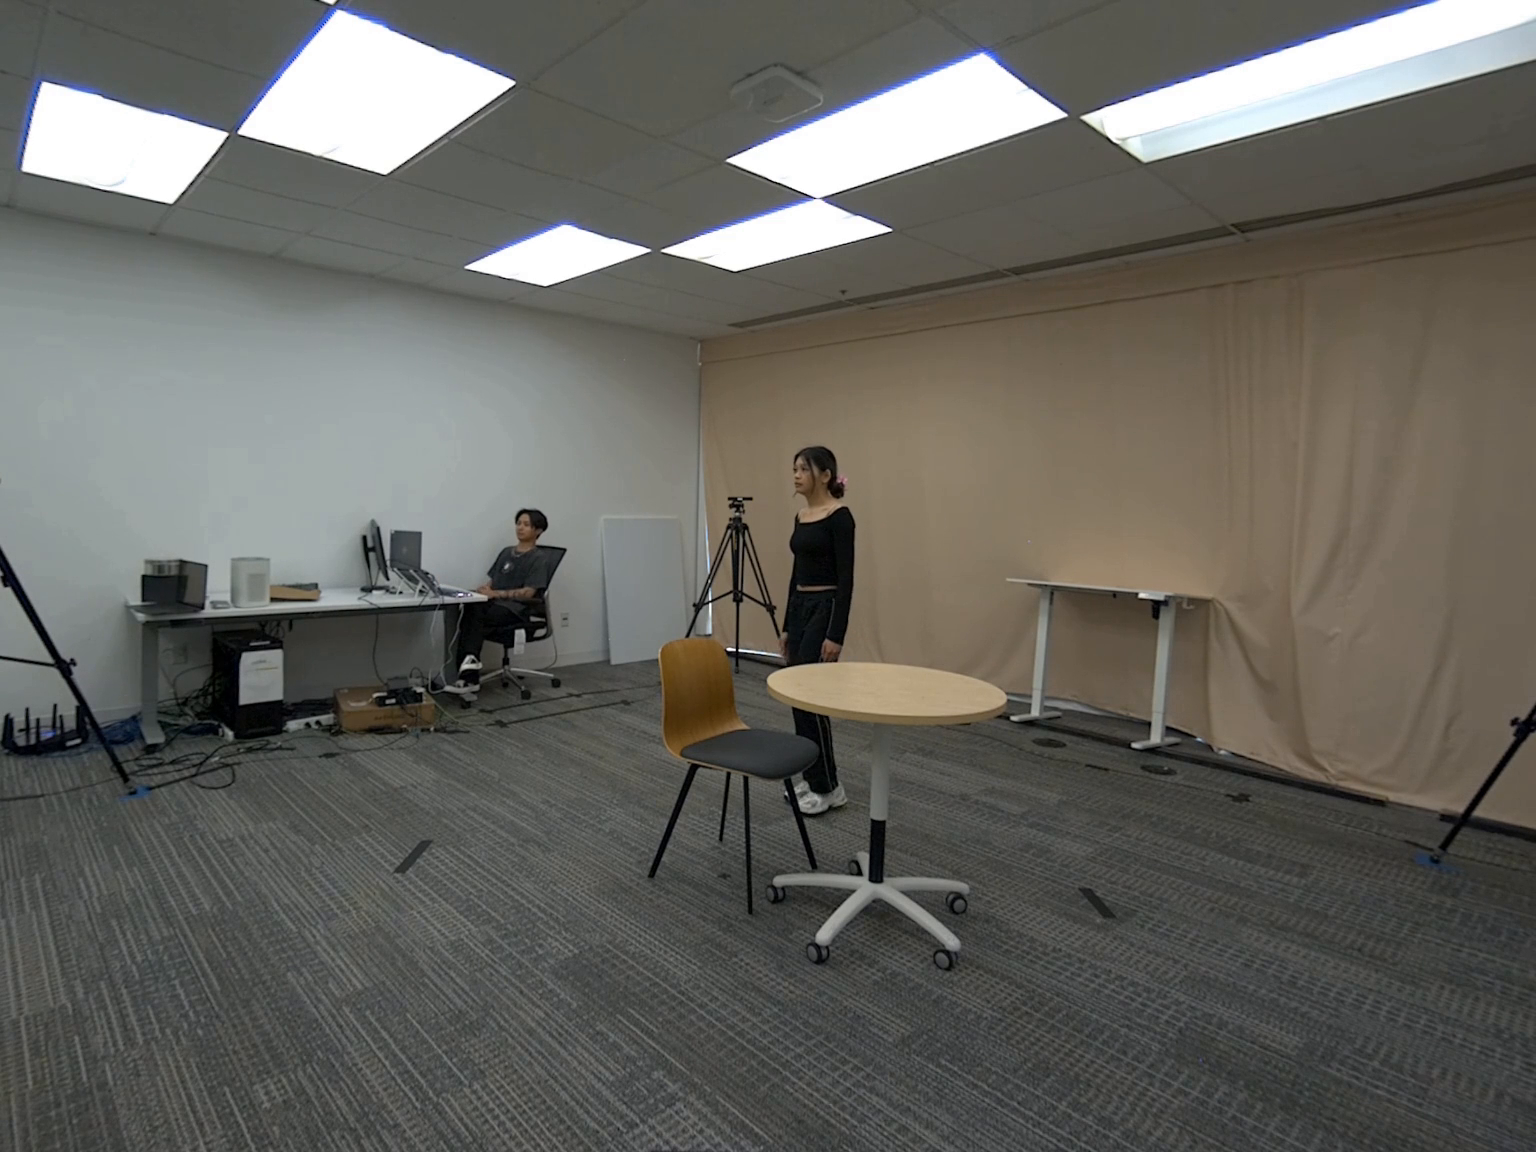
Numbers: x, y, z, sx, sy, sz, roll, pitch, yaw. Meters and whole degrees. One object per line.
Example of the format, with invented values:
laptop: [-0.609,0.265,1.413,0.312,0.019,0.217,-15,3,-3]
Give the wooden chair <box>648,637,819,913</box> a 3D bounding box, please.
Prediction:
wooden chair: [-0.115,0.681,3.092,0.534,0.877,0.468,-2,1,35]
